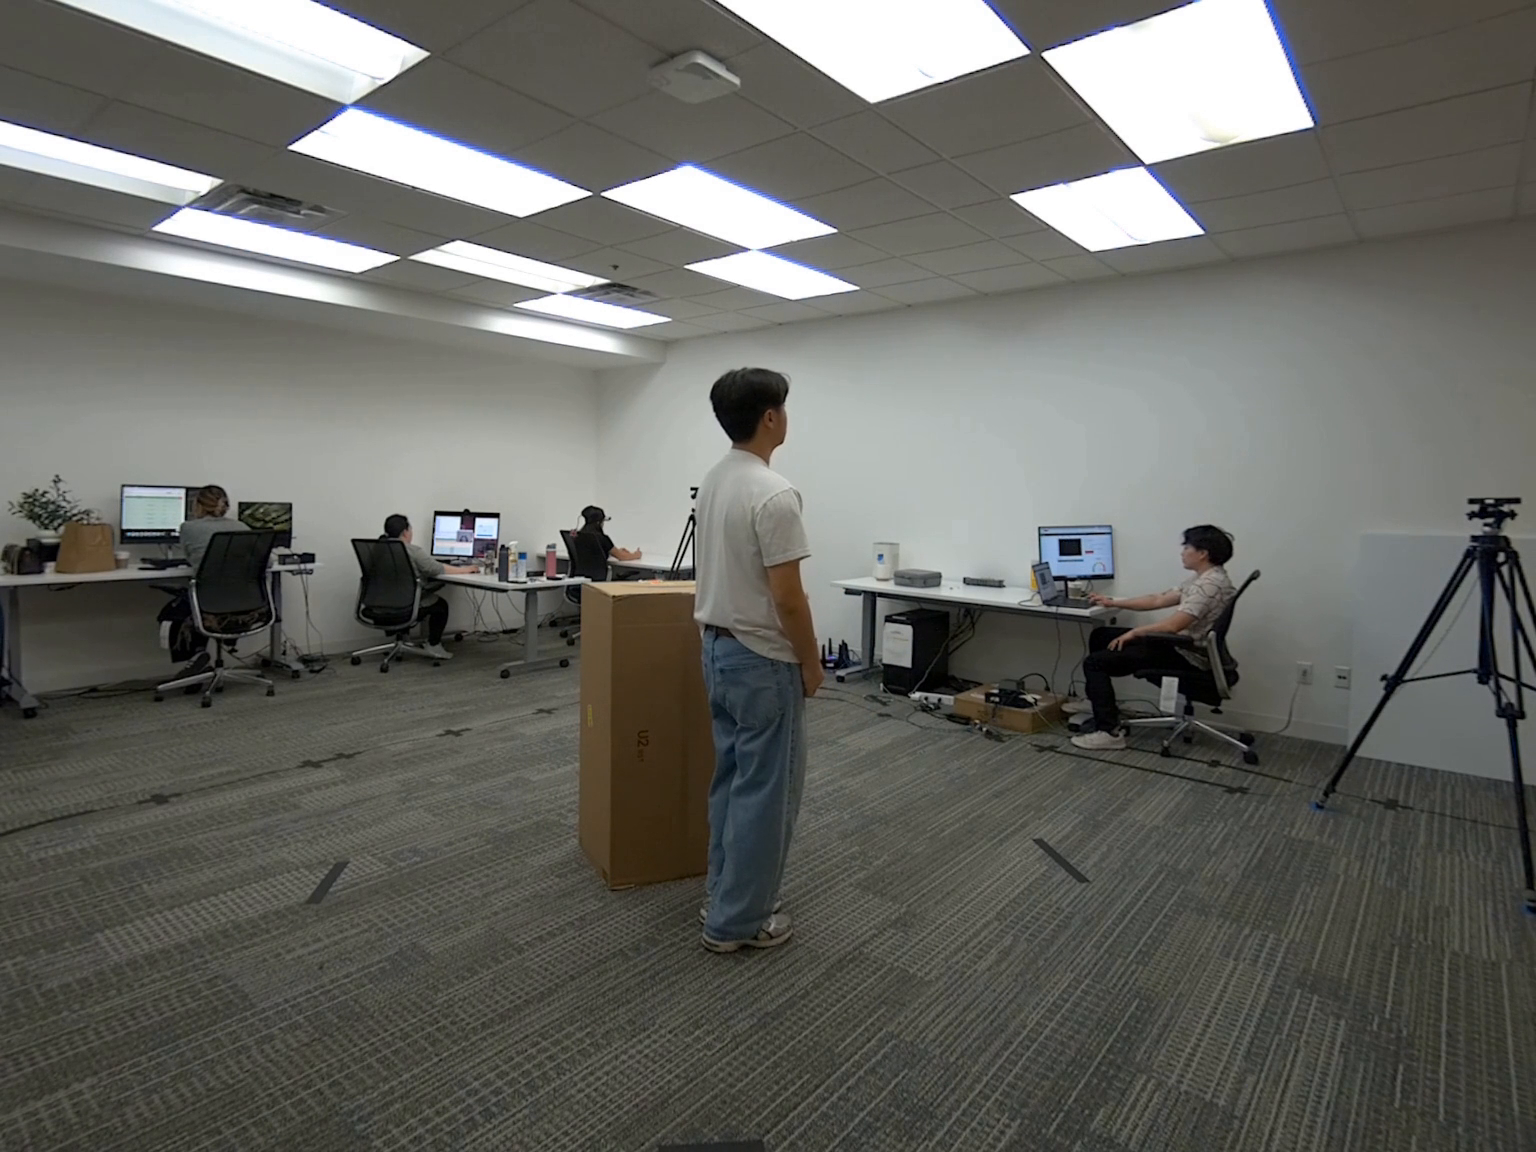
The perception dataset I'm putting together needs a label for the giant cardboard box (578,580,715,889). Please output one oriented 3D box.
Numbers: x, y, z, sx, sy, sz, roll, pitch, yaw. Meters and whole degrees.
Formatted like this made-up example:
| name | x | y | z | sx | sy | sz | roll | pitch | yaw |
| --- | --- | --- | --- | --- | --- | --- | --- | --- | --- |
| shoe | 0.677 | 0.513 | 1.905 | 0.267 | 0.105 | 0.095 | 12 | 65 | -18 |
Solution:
| name | x | y | z | sx | sy | sz | roll | pitch | yaw |
| --- | --- | --- | --- | --- | --- | --- | --- | --- | --- |
| giant cardboard box | -0.389 | 0.544 | 3.200 | 0.563 | 1.023 | 0.438 | -1 | 3 | -26 |
